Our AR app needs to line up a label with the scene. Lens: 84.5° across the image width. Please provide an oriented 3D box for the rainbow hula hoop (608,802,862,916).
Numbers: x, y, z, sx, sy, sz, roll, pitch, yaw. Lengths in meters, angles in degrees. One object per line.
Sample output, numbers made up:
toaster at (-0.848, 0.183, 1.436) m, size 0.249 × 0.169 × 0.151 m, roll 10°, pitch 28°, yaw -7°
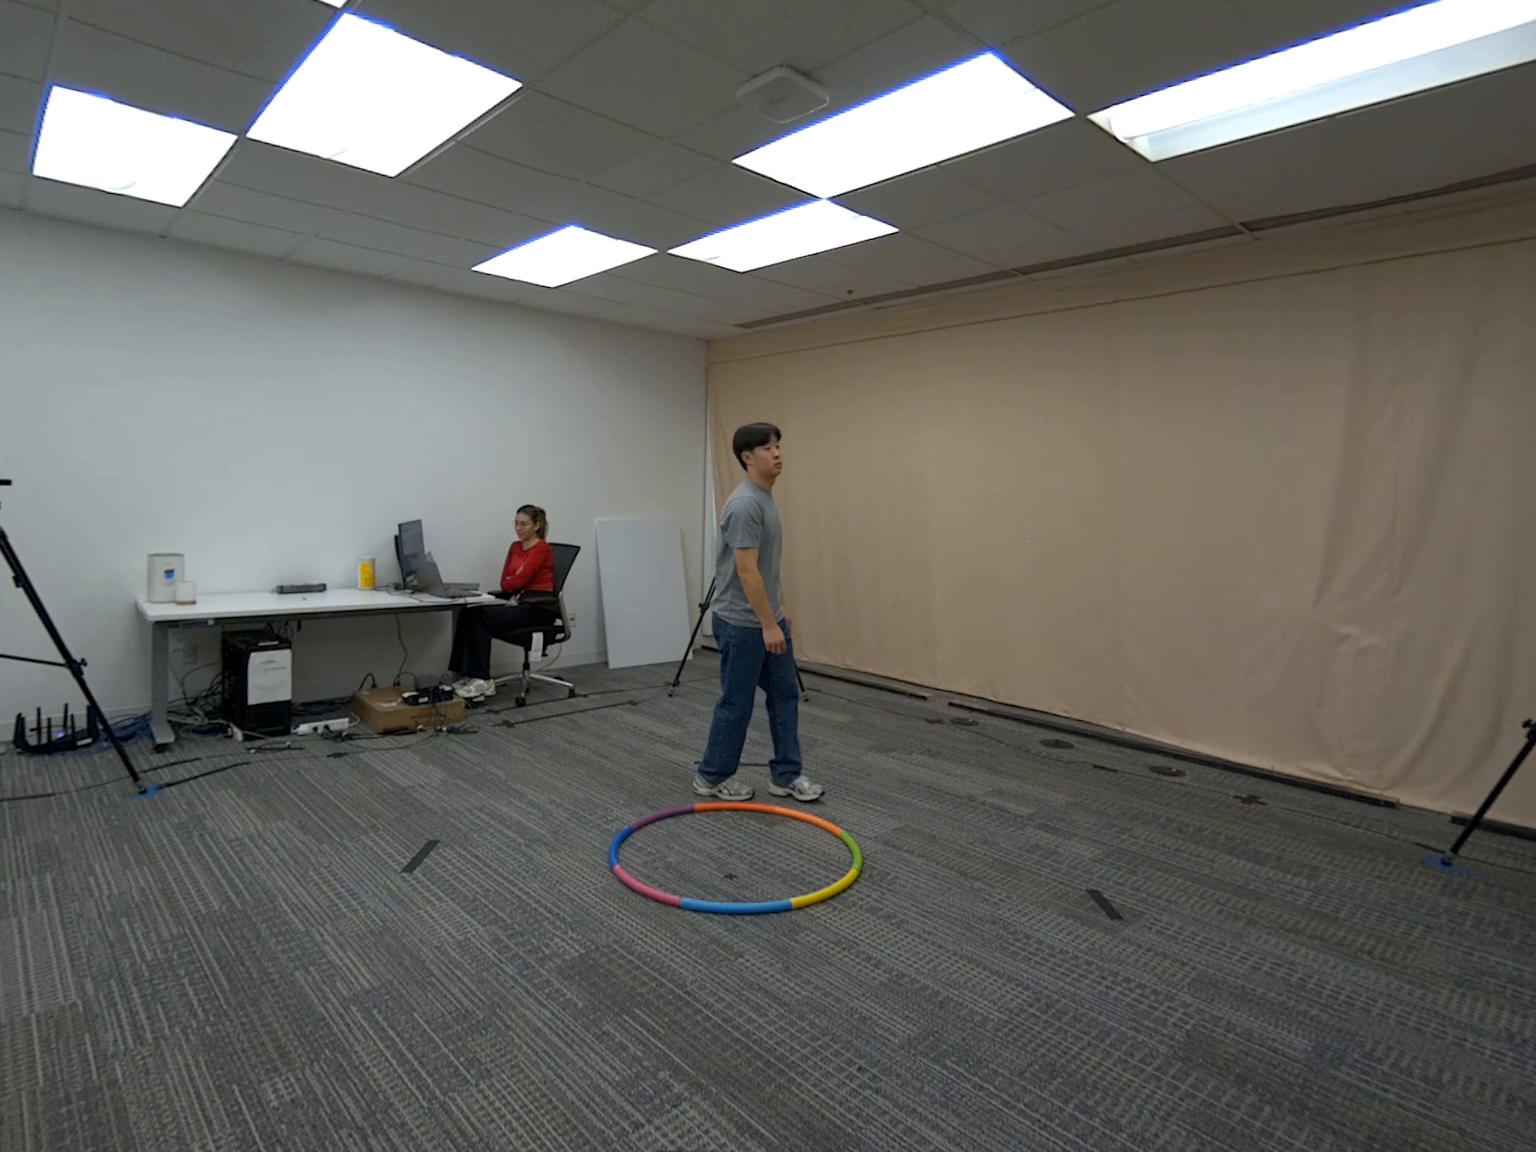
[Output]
rainbow hula hoop at (-0.142, 1.057, 3.301) m, size 0.978 × 0.035 × 0.982 m, roll 1°, pitch 5°, yaw -1°
